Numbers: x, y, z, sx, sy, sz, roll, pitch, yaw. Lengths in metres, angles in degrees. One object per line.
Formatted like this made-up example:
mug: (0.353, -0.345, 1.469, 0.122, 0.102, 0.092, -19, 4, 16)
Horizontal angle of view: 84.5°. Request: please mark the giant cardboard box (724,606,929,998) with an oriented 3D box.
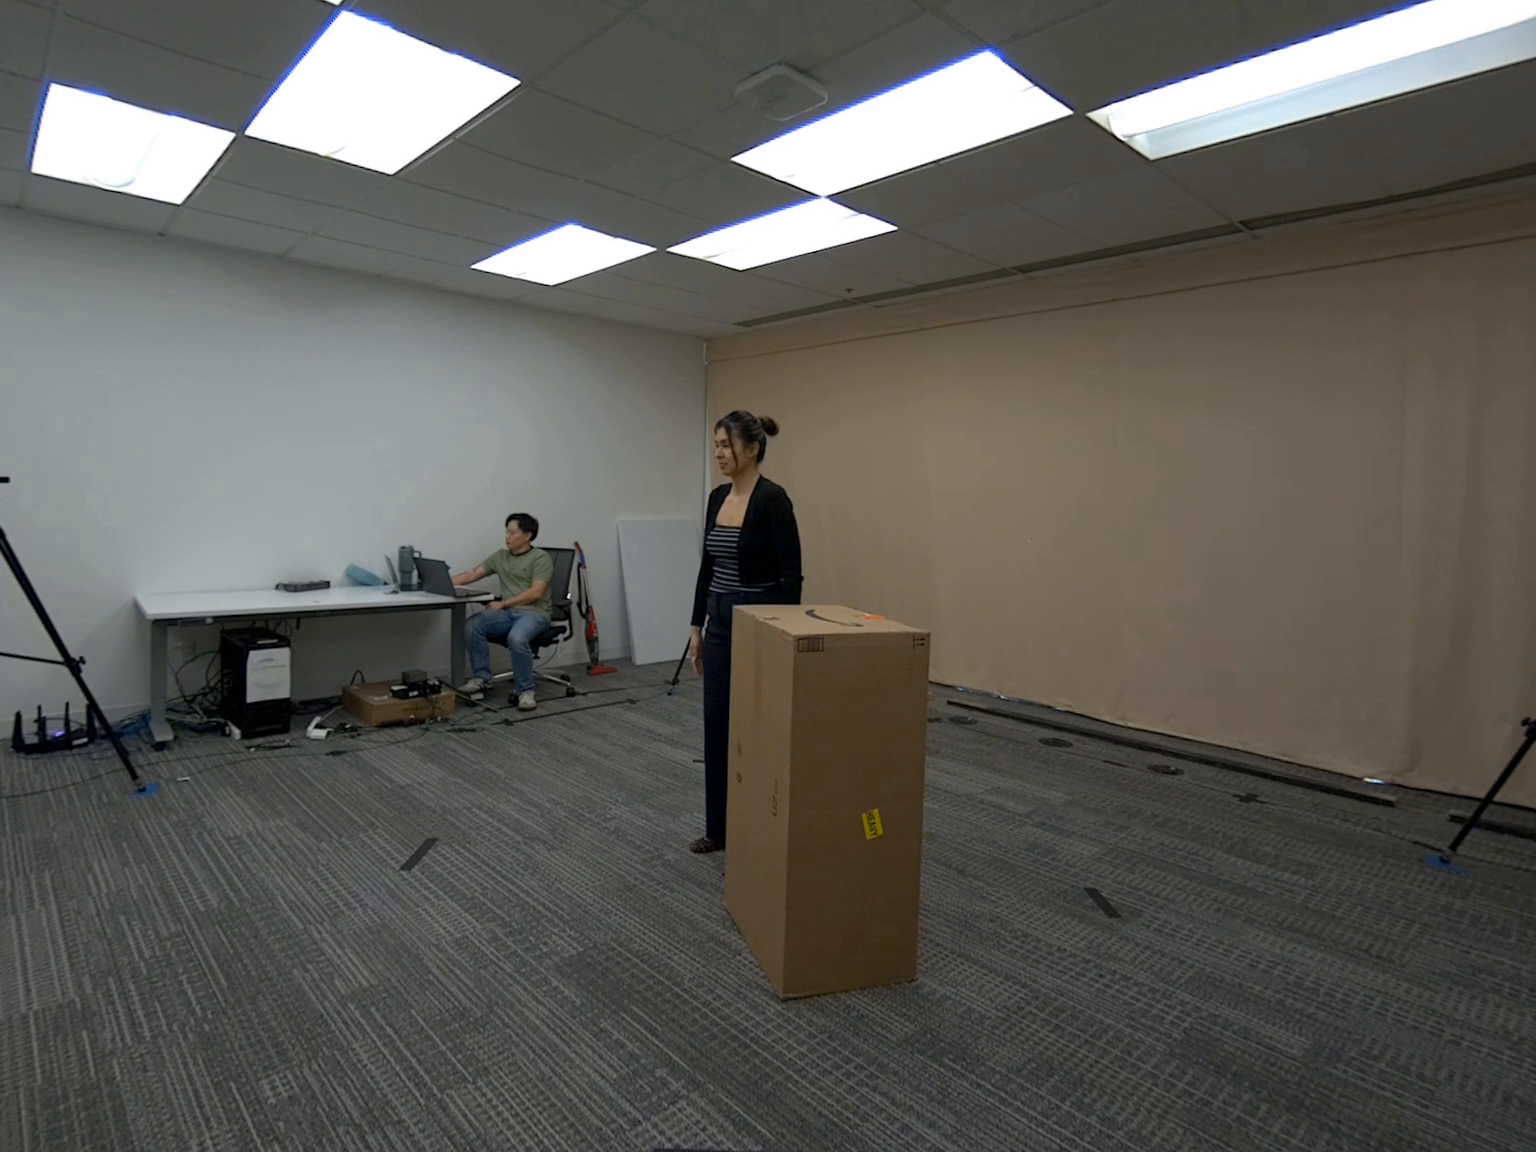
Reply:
giant cardboard box: (0.159, 0.640, 2.629, 0.420, 1.023, 0.587, 1, 4, -18)
